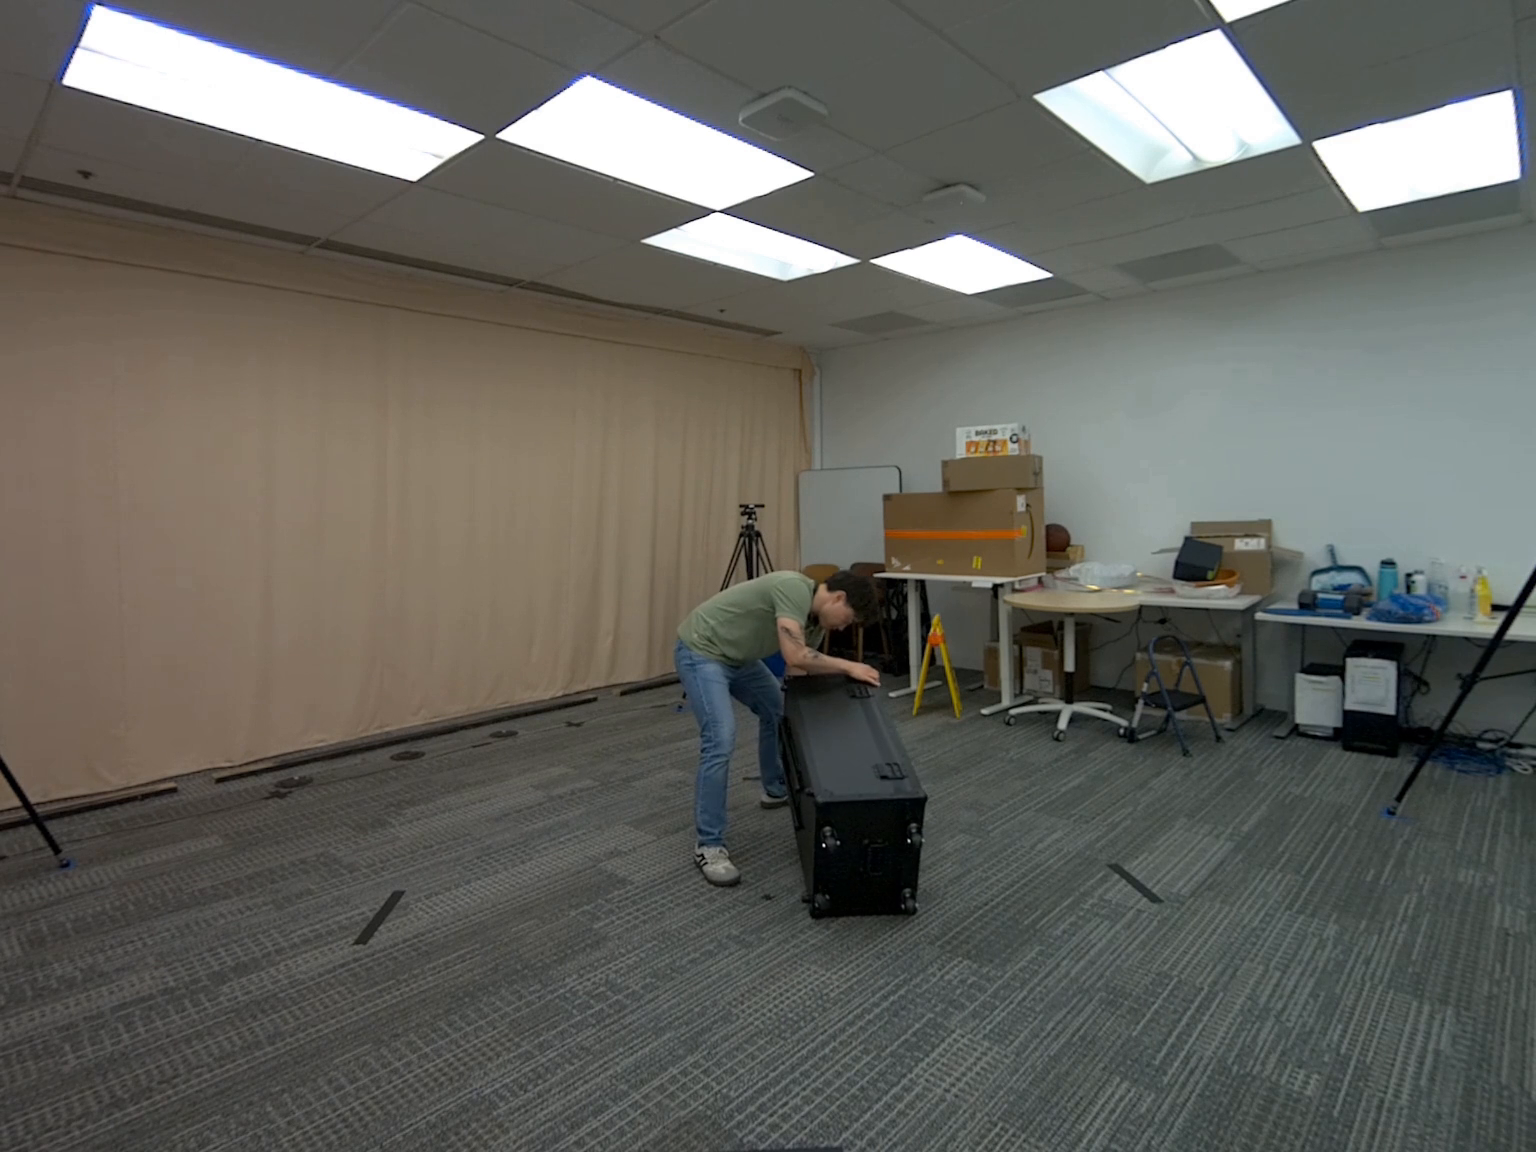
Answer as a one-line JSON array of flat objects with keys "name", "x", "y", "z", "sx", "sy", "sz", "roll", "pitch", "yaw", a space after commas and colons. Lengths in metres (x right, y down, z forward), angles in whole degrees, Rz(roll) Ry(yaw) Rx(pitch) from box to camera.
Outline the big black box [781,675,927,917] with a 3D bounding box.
[{"name": "big black box", "x": 0.290, "y": 0.777, "z": 3.069, "sx": 0.394, "sy": 0.514, "sz": 0.878, "roll": -3, "pitch": 23, "yaw": -6}]
